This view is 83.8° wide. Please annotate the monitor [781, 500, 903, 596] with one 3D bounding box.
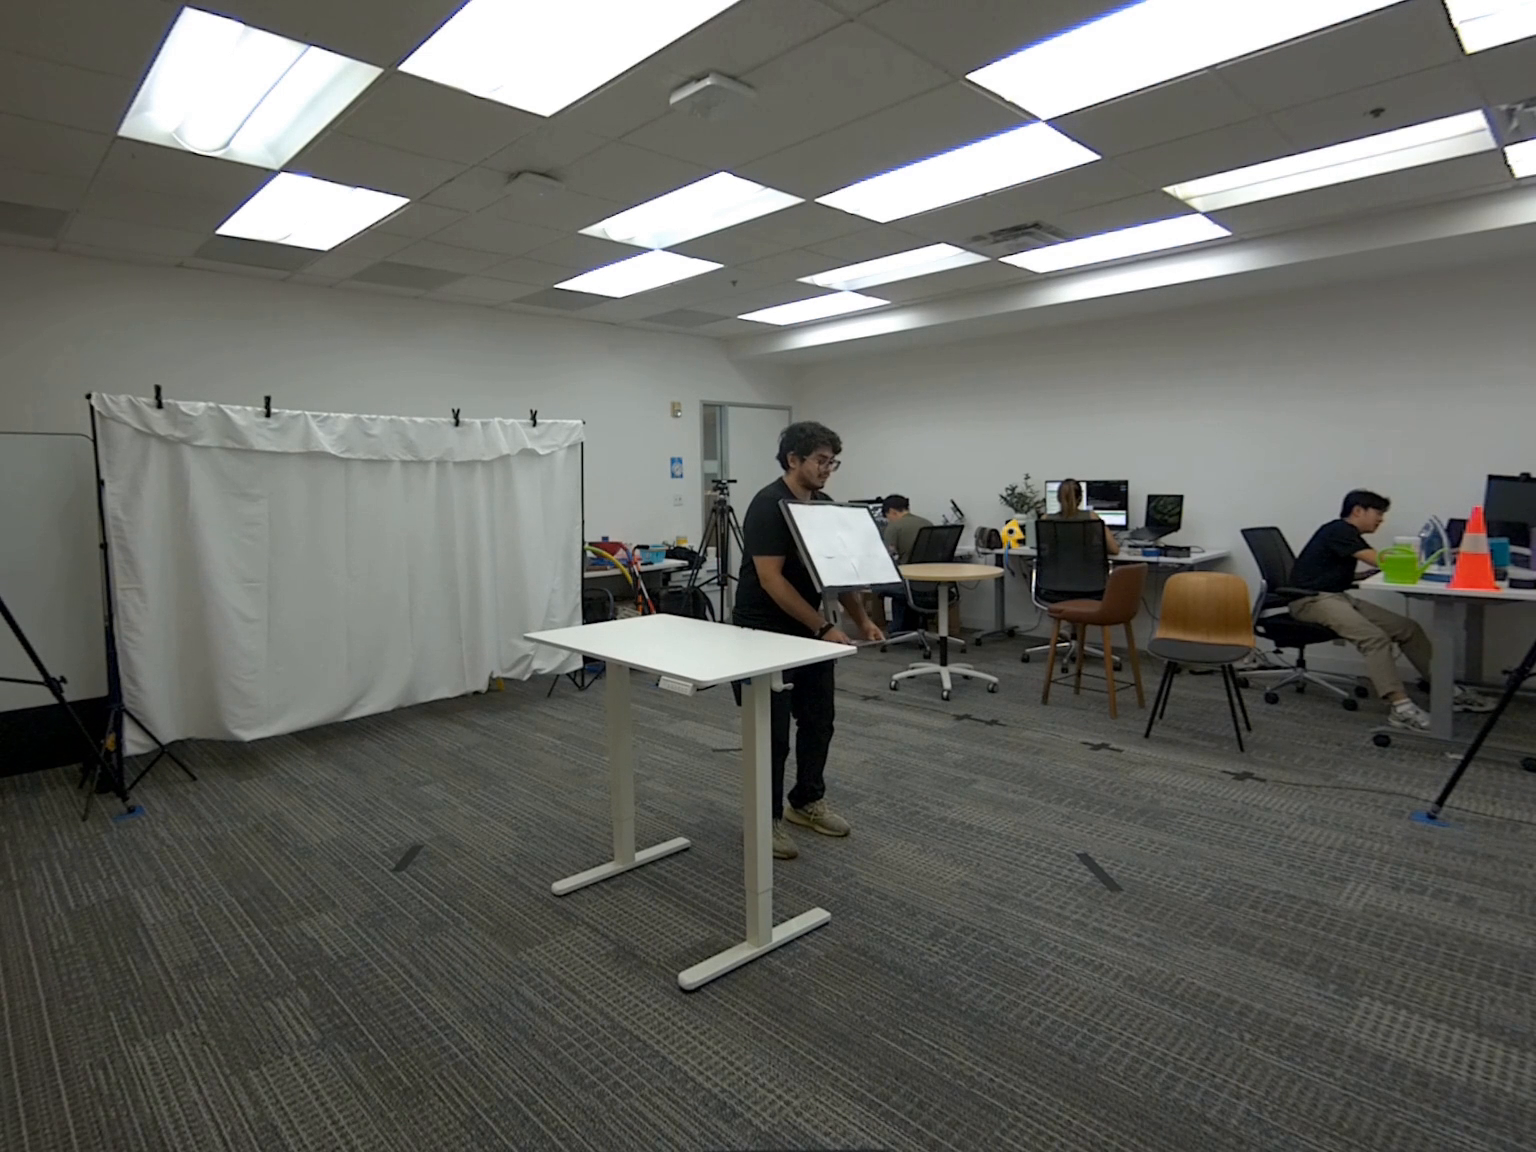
[{"bbox_3d":[0.254,-0.002,3.181,0.213,0.563,0.549,-28,-17,37],"label":"monitor"}]
